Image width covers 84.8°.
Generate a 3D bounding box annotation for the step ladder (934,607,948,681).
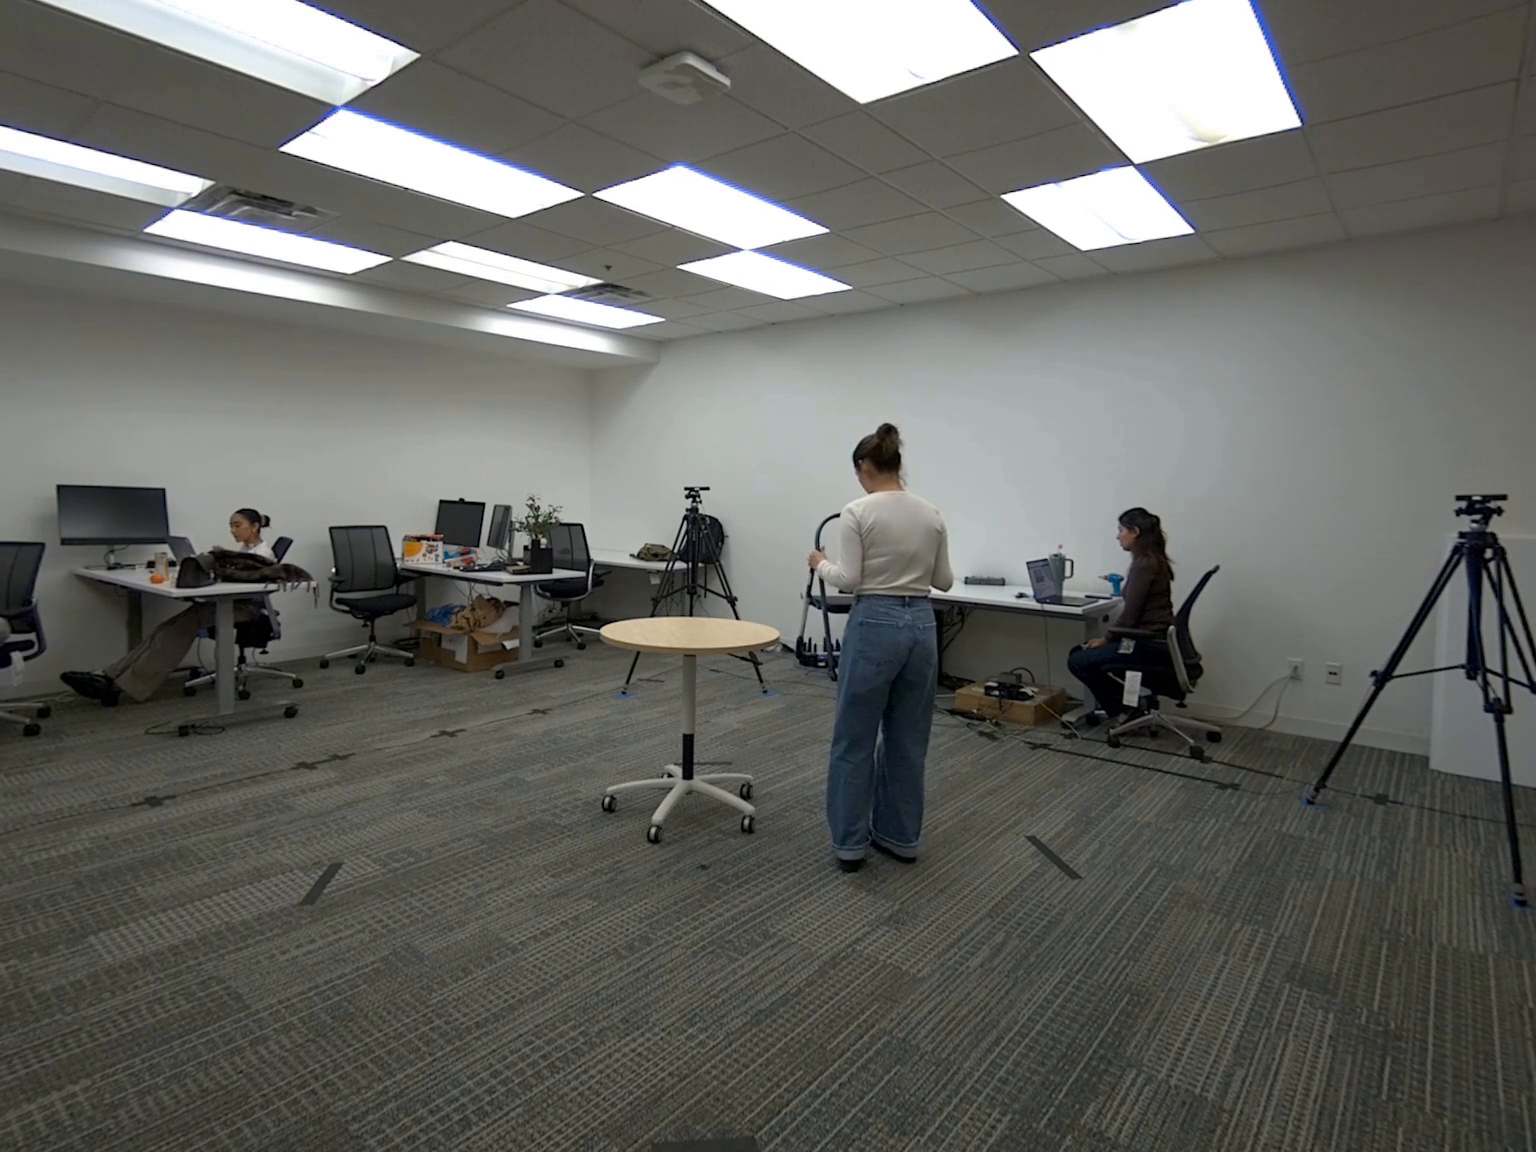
[{"bbox_3d":[0.383,0.049,3.378,0.421,0.605,0.357,3,2,-21],"label":"step ladder"}]
